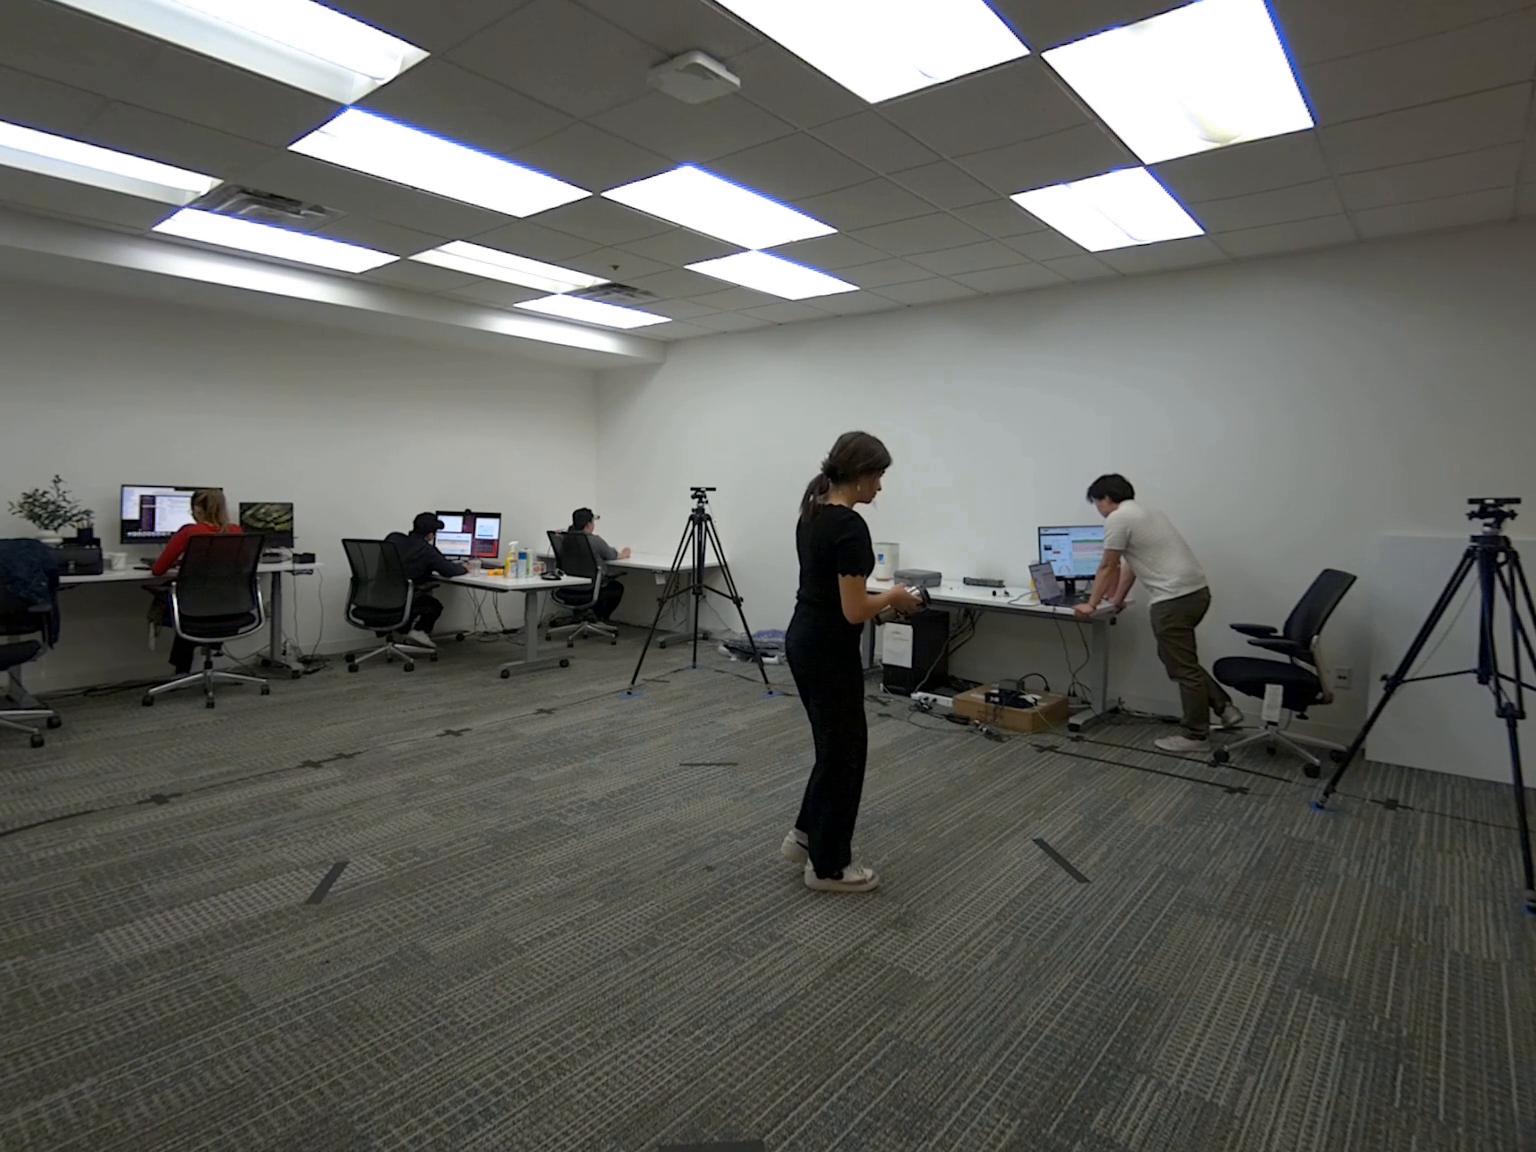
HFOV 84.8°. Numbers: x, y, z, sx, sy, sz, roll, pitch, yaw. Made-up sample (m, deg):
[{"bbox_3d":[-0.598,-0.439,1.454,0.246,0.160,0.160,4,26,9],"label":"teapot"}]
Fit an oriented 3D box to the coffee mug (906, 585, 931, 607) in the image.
[{"bbox_3d":[0.464,0.117,2.990,0.201,0.085,0.127,-19,50,-12],"label":"coffee mug"}]
